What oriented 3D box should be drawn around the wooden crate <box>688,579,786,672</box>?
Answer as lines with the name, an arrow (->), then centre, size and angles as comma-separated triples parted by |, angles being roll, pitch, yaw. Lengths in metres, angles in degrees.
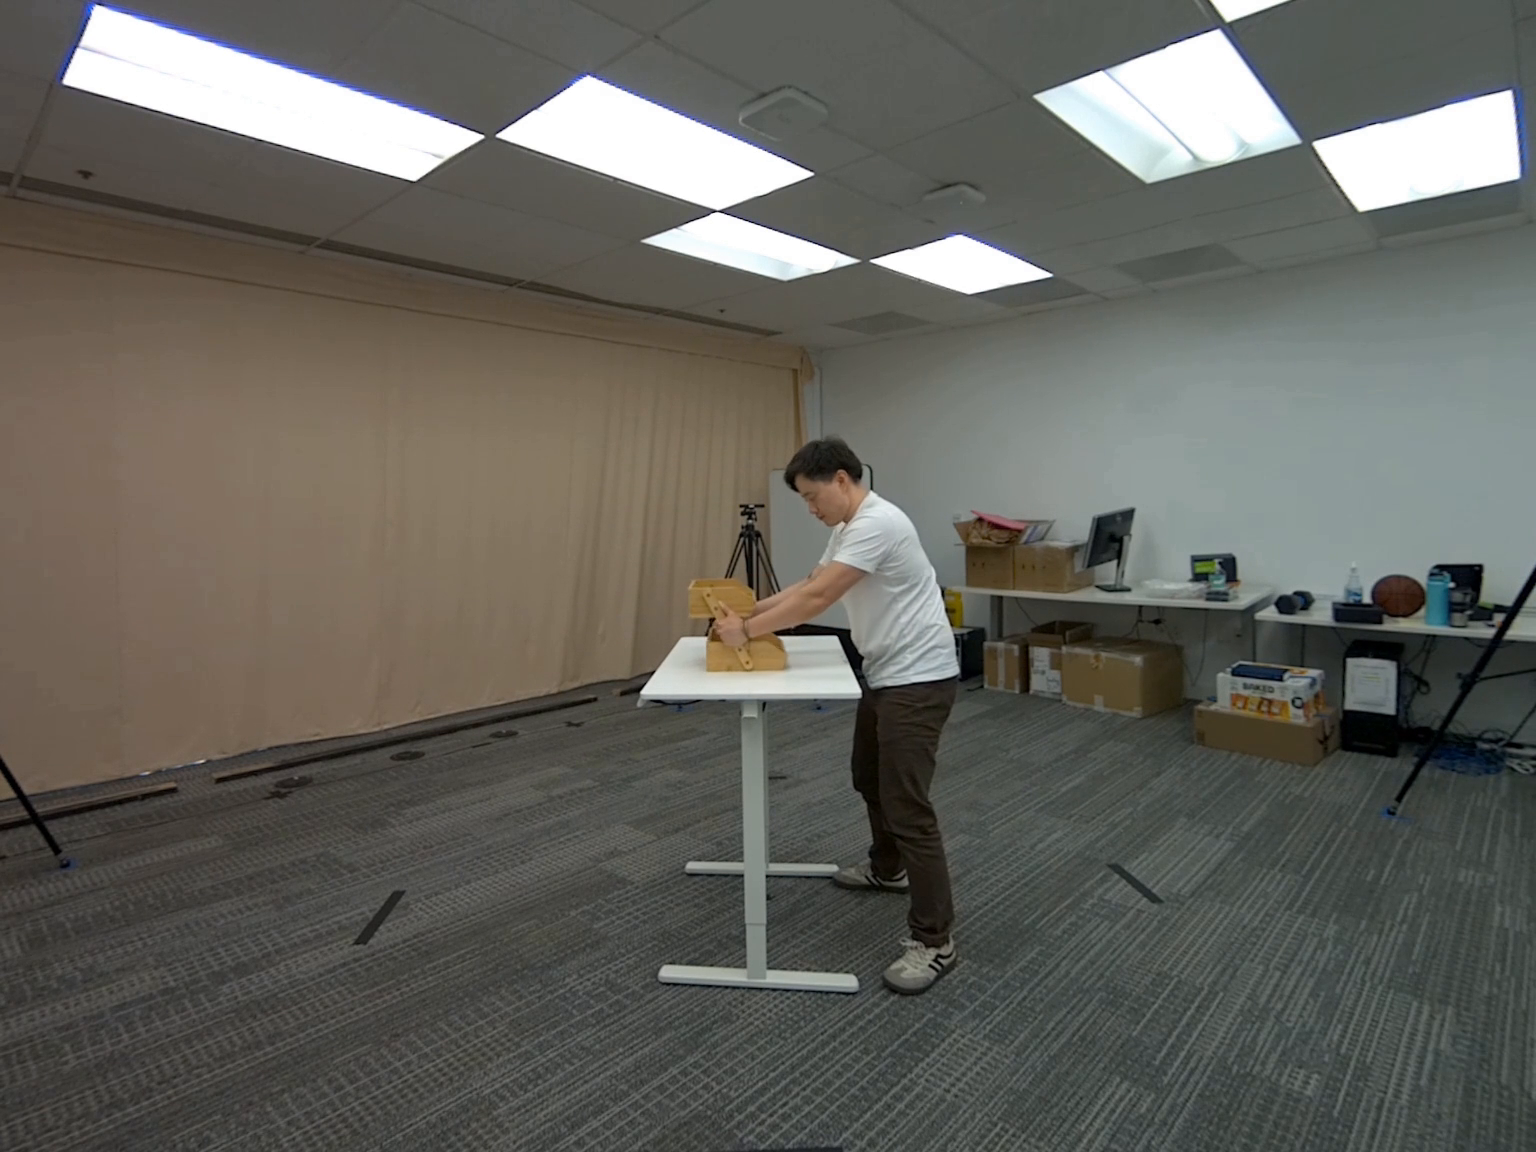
wooden crate -> -0.087, 0.154, 2.723 | 0.302, 0.273, 0.325 | -2, 3, 0
